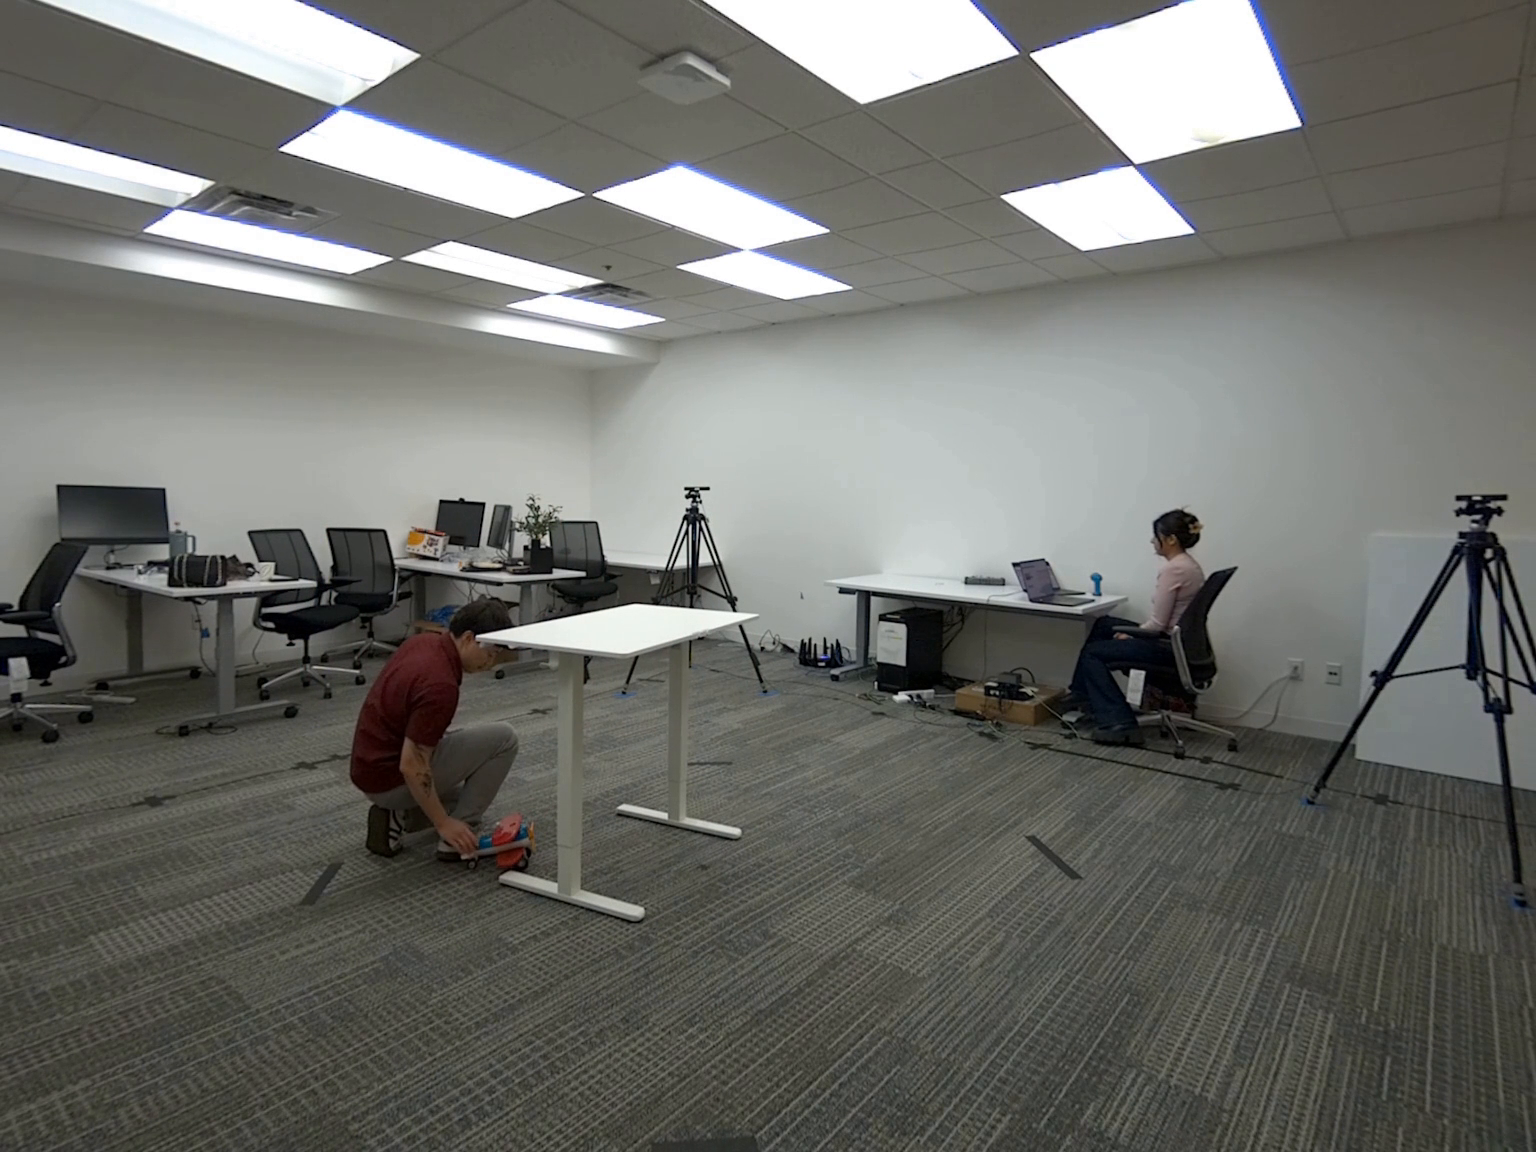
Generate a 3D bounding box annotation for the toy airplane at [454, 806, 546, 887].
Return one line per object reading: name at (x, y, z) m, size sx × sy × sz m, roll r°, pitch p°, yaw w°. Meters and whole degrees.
toy airplane at (-0.987, 0.981, 3.082) m, size 0.252 × 0.156 × 0.259 m, roll -1°, pitch 5°, yaw -34°
